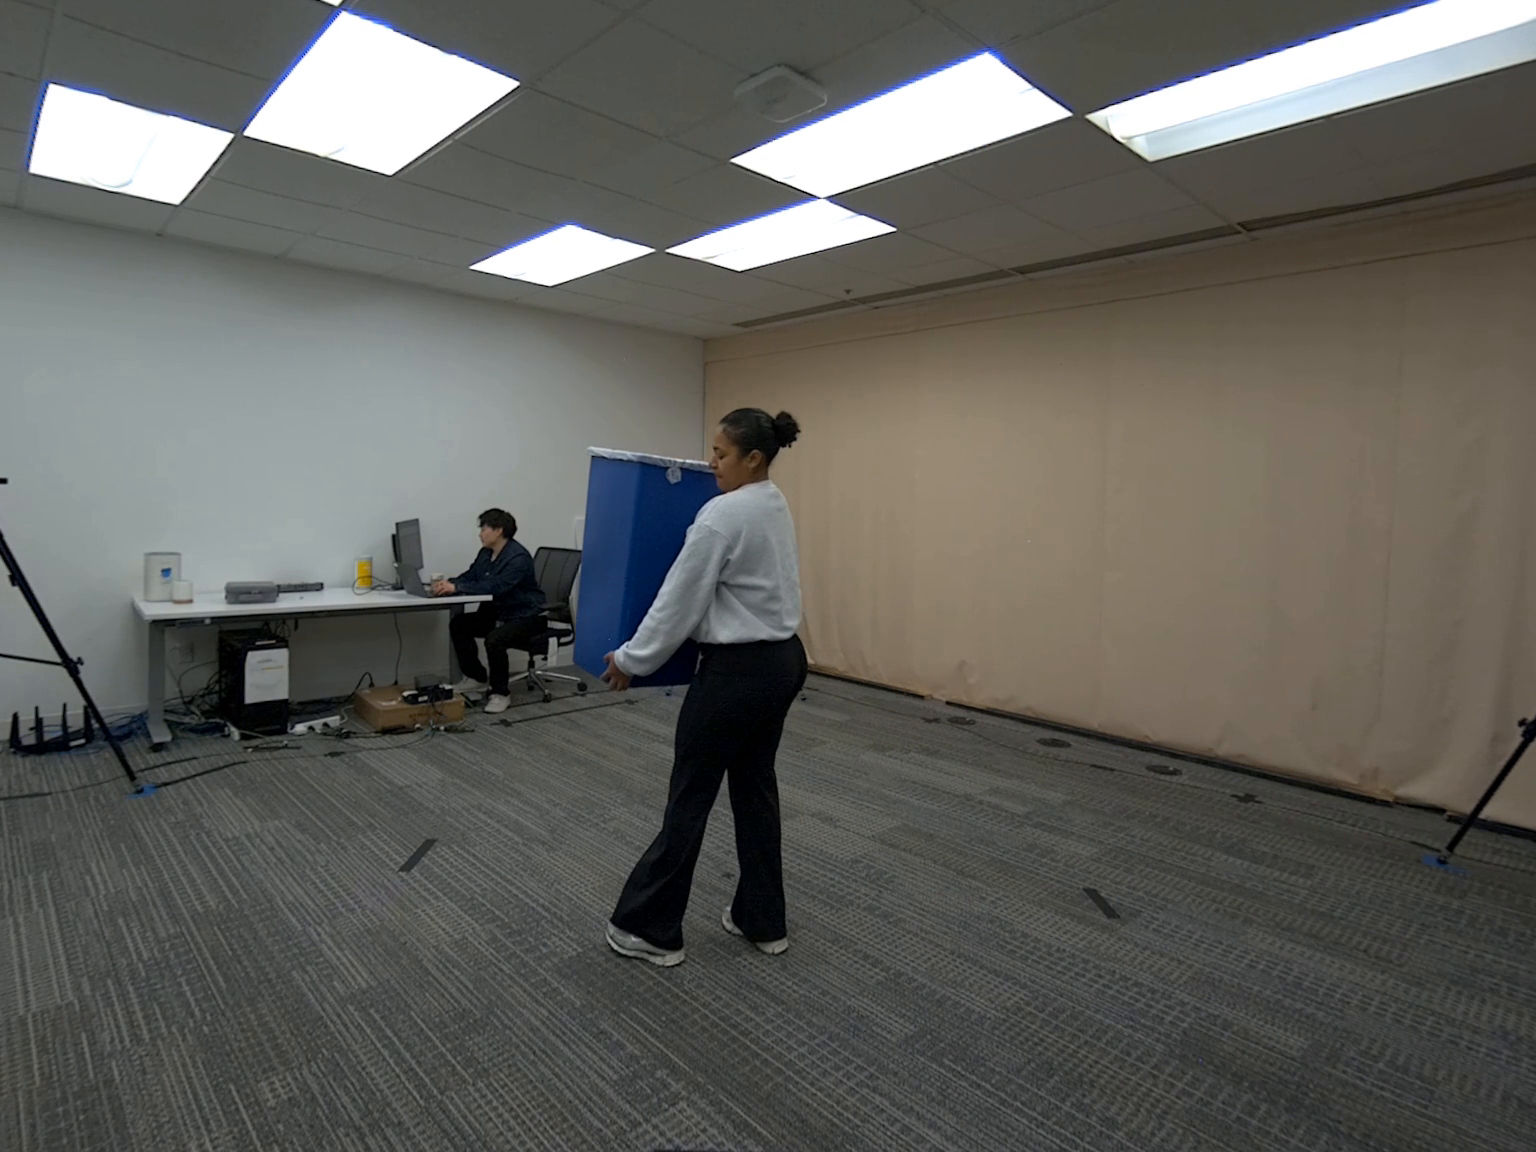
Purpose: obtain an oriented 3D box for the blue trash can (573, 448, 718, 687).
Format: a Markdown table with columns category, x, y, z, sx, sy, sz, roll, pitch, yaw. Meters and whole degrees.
| category | x | y | z | sx | sy | sz | roll | pitch | yaw |
| --- | --- | --- | --- | --- | --- | --- | --- | --- | --- |
| blue trash can | -0.397 | -0.033 | 2.744 | 0.365 | 0.711 | 0.388 | 4 | 7 | -38 |
